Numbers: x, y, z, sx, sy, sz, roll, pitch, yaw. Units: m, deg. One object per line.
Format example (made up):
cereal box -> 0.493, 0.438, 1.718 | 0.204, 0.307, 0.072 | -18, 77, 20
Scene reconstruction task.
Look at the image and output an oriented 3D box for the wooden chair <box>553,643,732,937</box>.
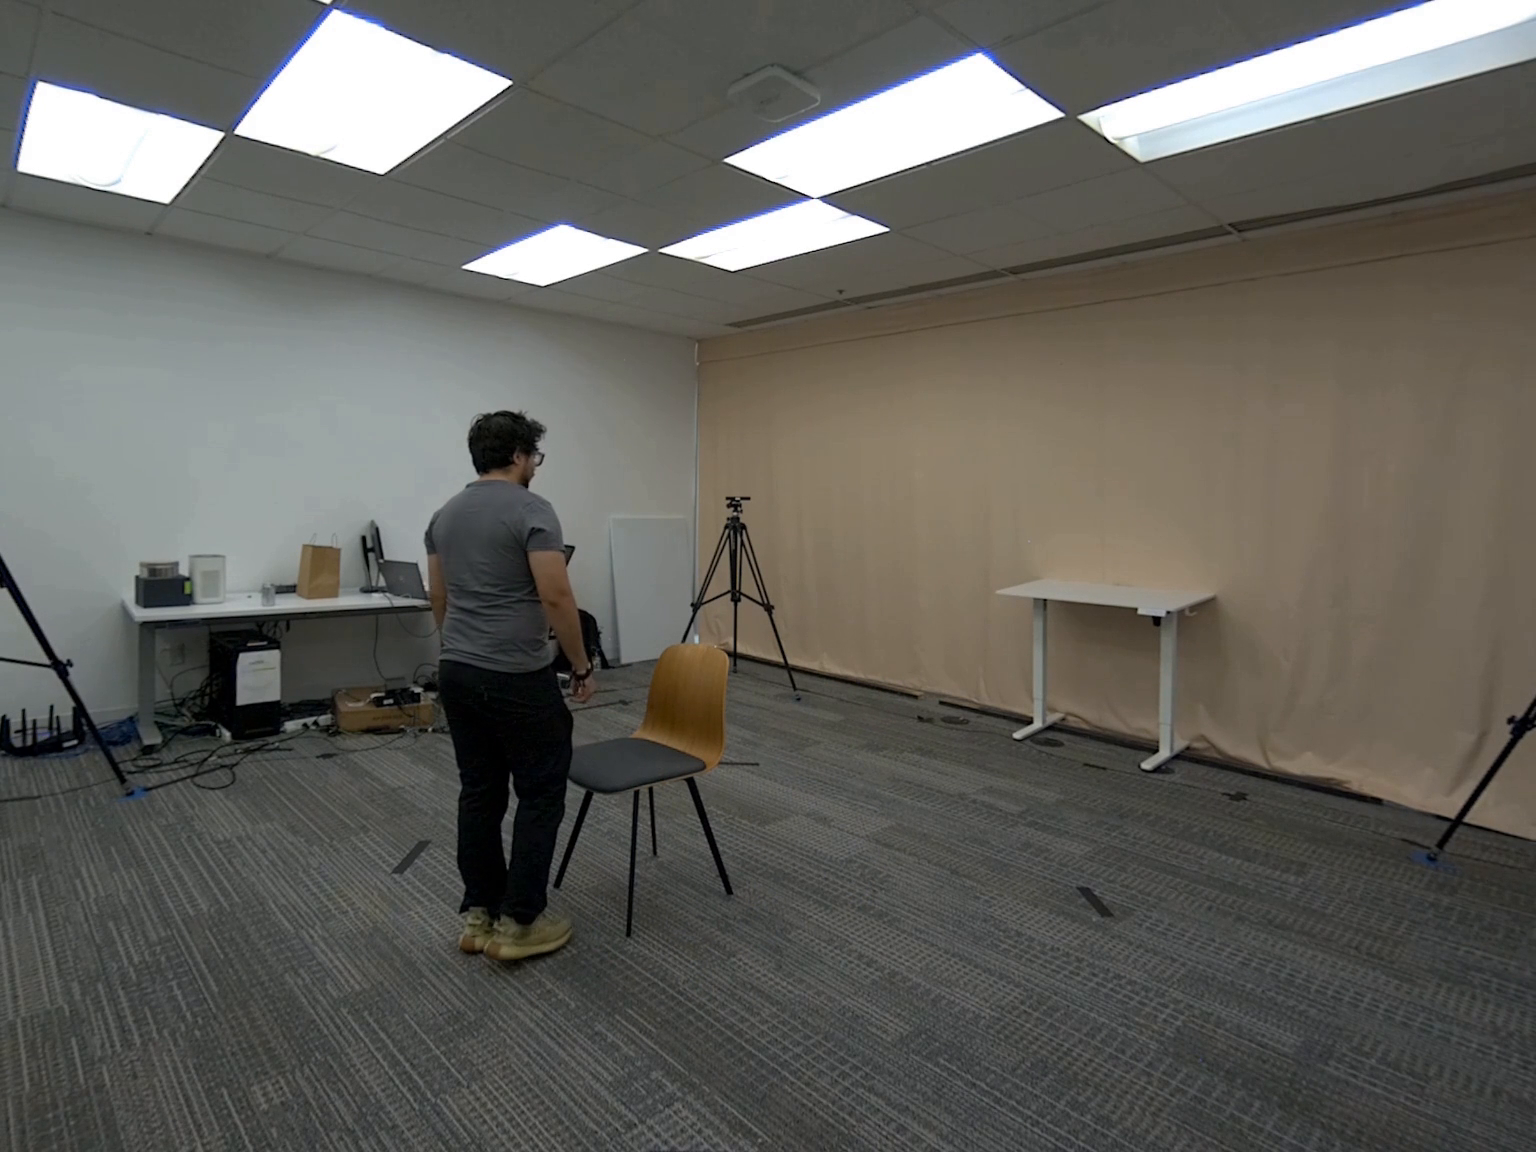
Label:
wooden chair -> -0.437, 0.690, 2.932 | 0.510, 0.877, 0.490 | 4, 1, -44
